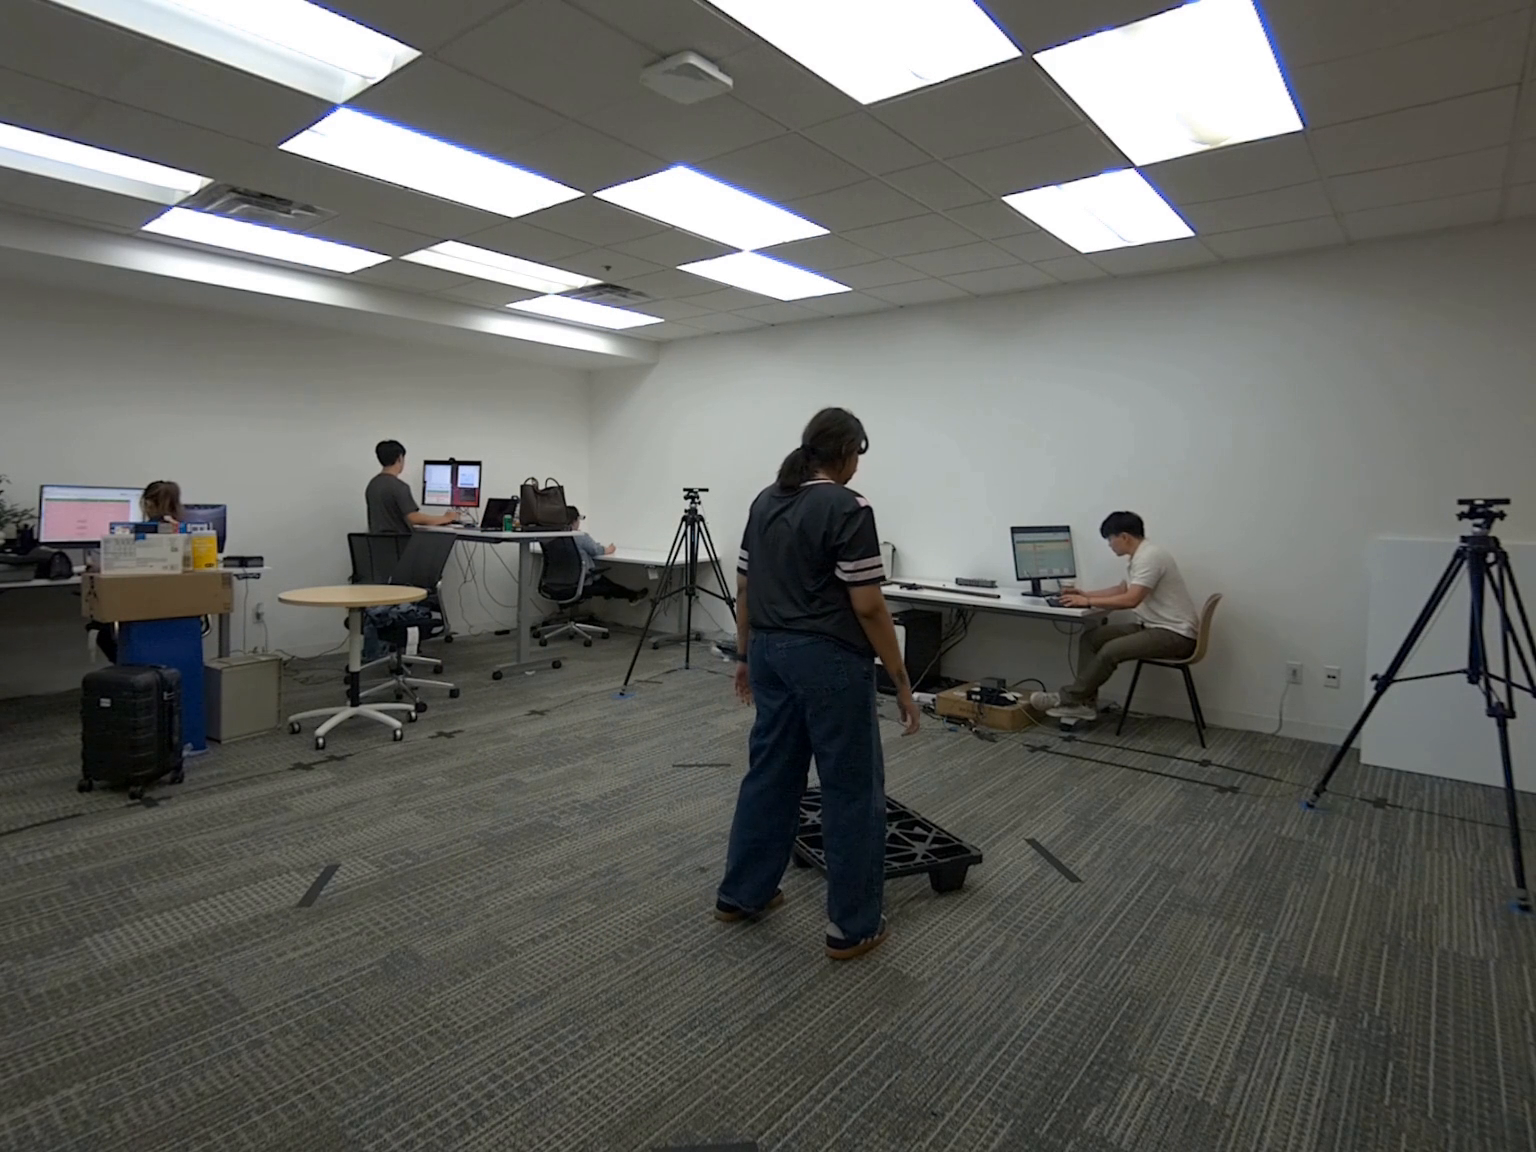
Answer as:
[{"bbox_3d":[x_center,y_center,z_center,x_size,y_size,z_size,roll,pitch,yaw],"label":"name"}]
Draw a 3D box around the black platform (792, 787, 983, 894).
[{"bbox_3d":[0.314,0.997,3.248,0.591,0.143,0.827,0,6,-24],"label":"black platform"}]
